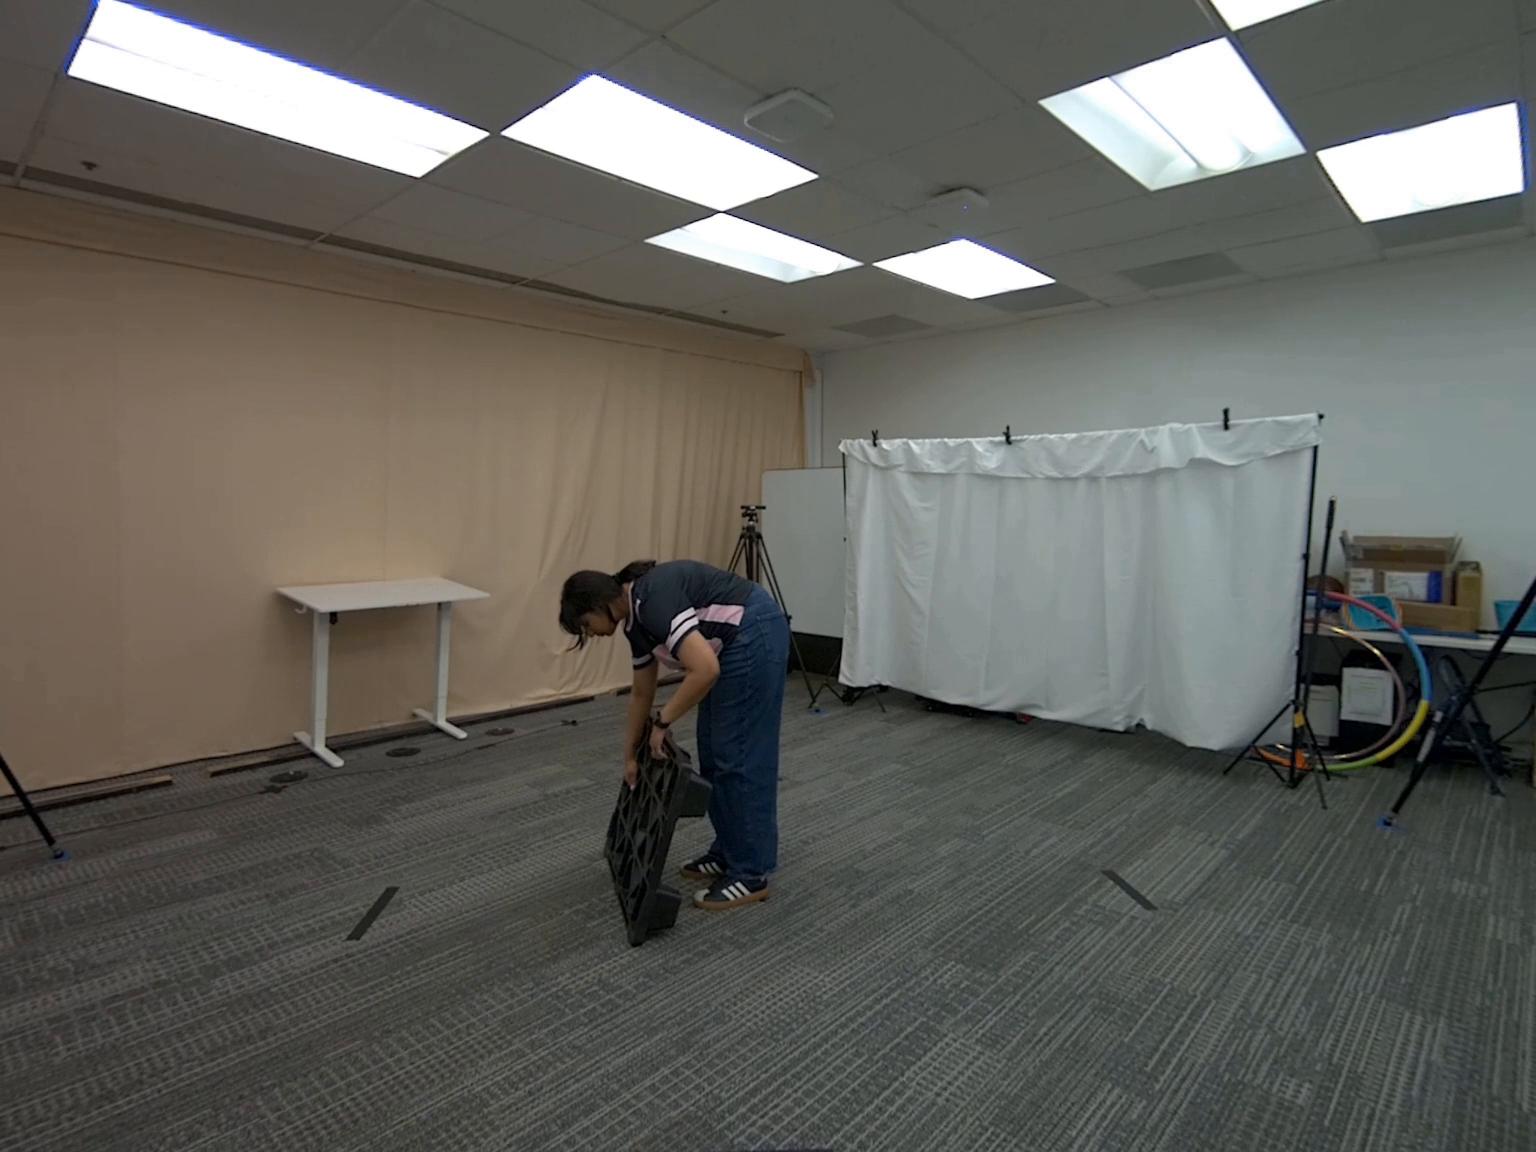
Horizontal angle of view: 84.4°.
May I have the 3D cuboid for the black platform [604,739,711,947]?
[{"bbox_3d":[-0.414,0.869,3.050,0.140,0.605,0.821,15,0,-18],"label":"black platform"}]
